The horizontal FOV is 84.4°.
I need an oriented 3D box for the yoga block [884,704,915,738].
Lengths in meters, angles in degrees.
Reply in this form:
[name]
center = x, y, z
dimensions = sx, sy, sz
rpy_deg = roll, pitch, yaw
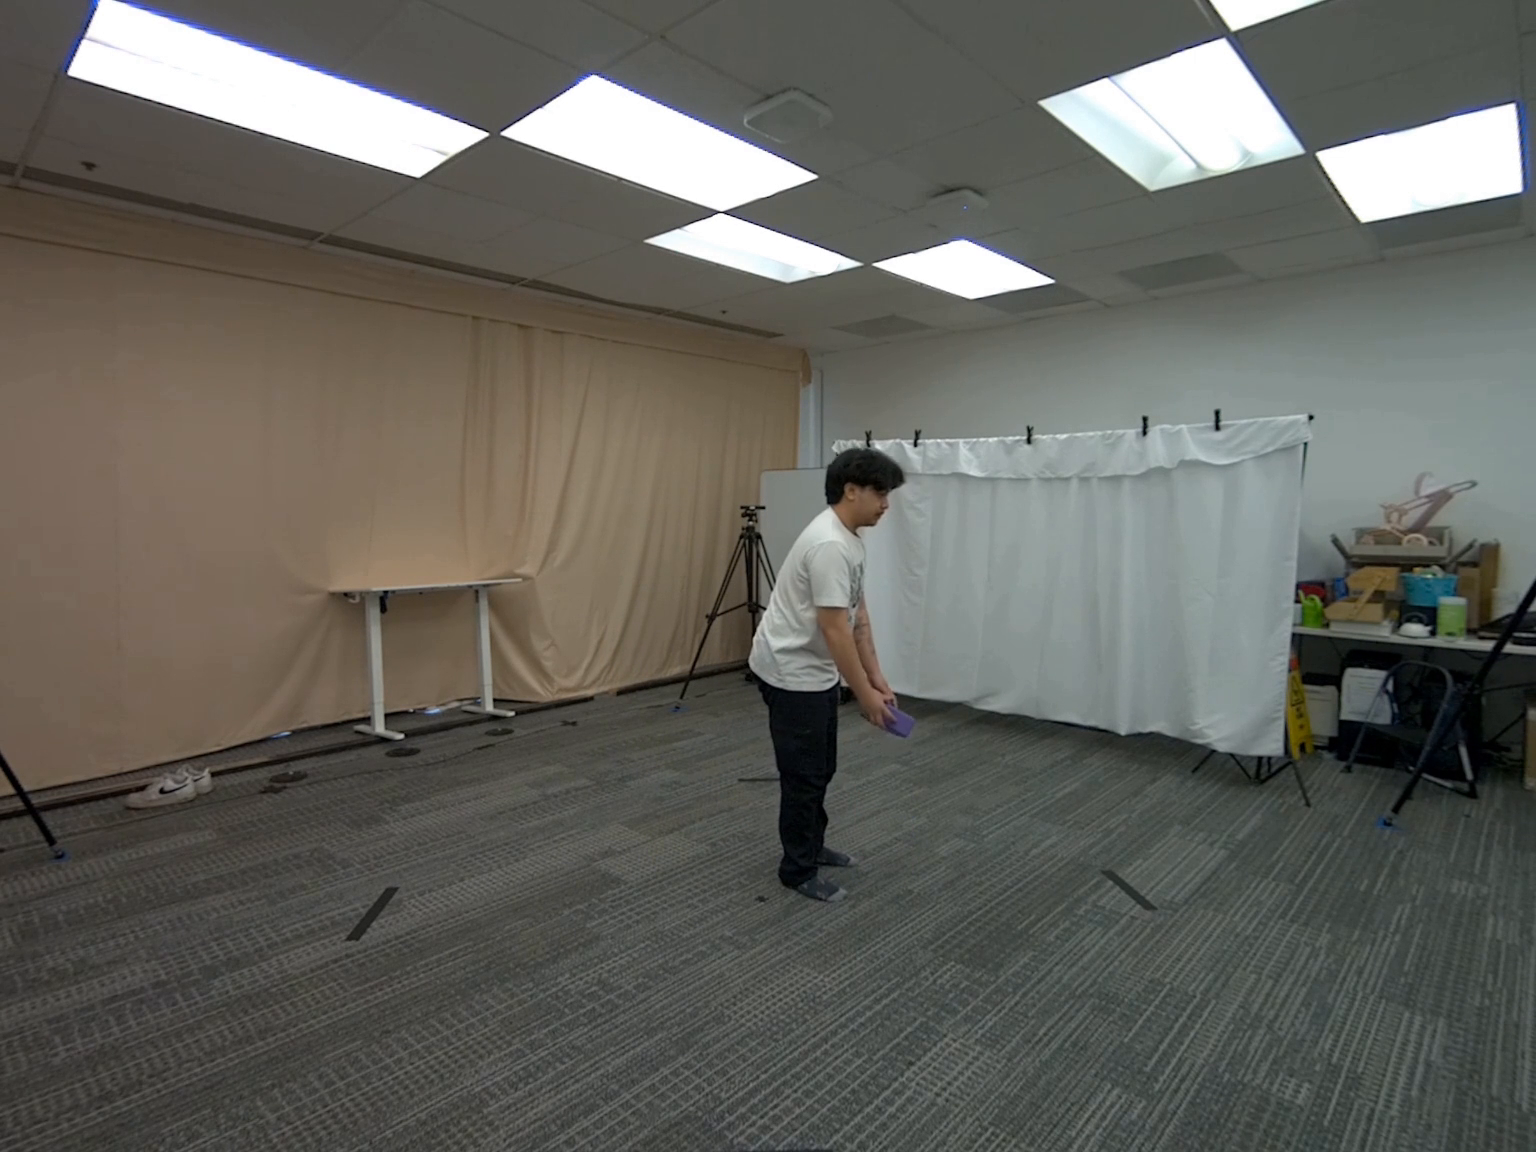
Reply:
[yoga block]
center = 0.442, 0.514, 3.057
dimensions = 0.150, 0.076, 0.228
rpy_deg = 28, -5, 3
